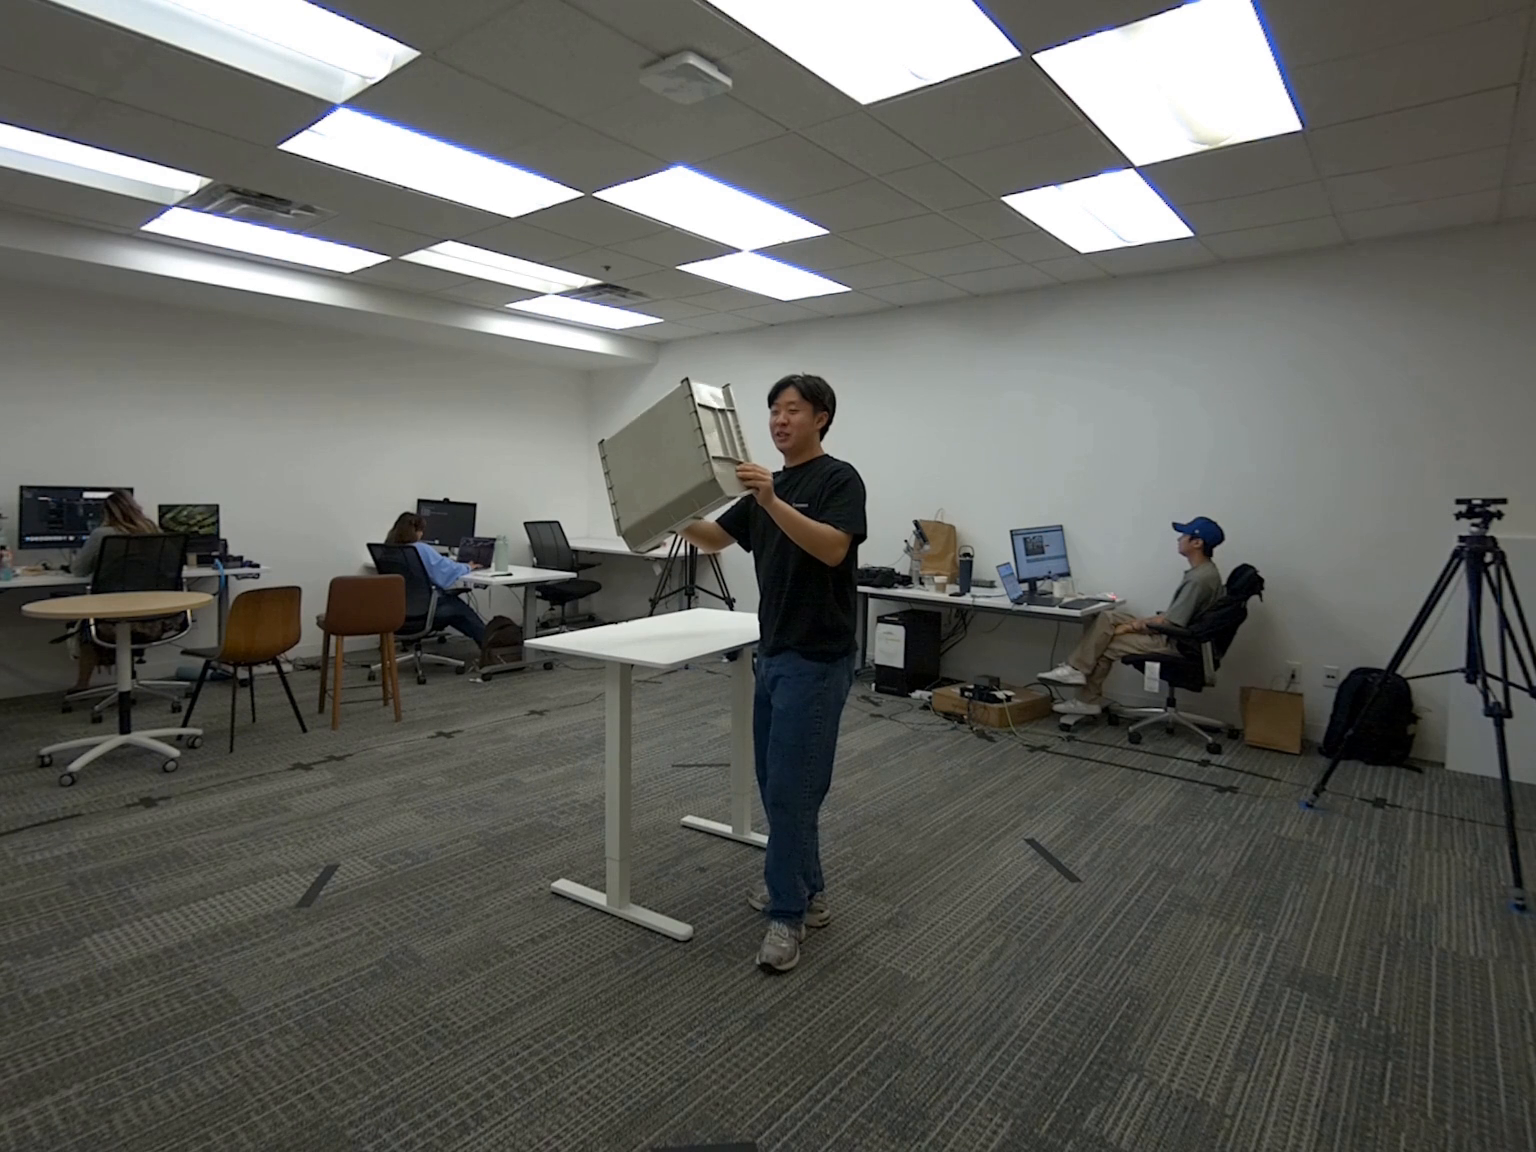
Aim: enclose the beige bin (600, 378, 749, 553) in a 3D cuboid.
[{"bbox_3d":[-0.281,-0.316,2.489,0.428,0.385,0.183,-27,-20,37],"label":"beige bin"}]
